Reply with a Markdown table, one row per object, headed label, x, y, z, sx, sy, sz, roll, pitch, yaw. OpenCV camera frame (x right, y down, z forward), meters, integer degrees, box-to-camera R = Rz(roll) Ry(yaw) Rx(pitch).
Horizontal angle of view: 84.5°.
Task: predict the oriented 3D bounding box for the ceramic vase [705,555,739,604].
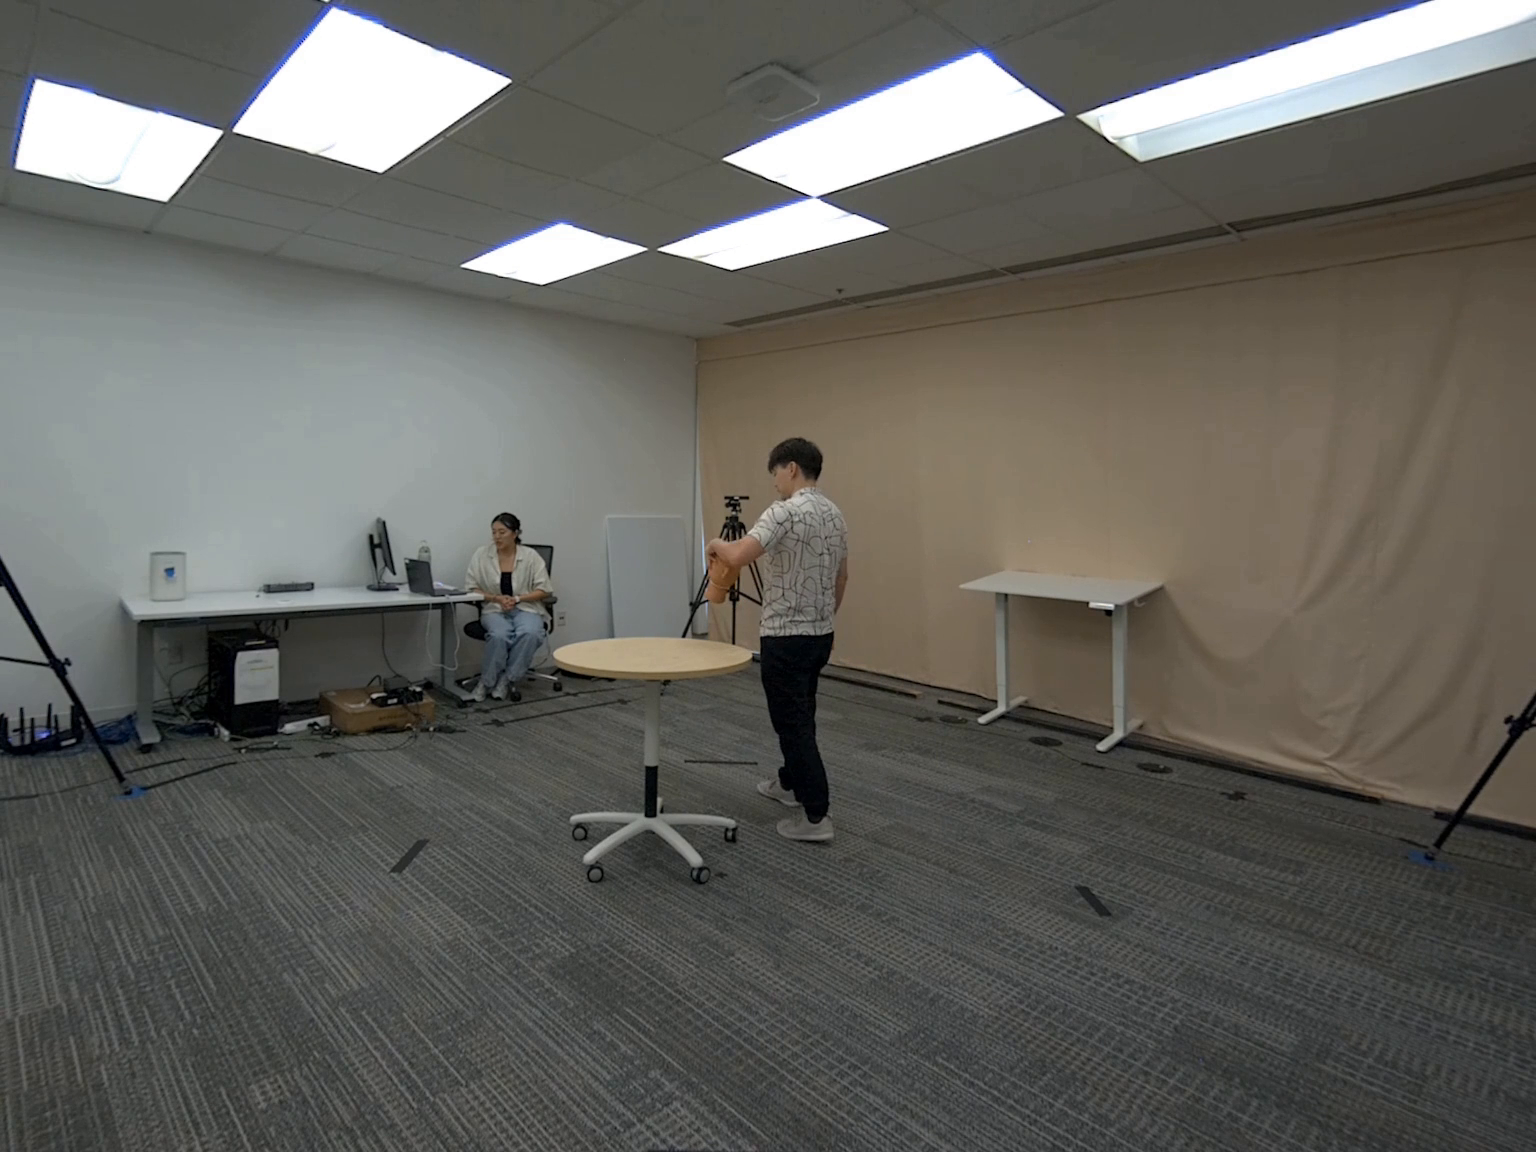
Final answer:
| label | x | y | z | sx | sy | sz | roll | pitch | yaw |
| --- | --- | --- | --- | --- | --- | --- | --- | --- | --- |
| ceramic vase | -0.197 | 0.003 | 3.677 | 0.138 | 0.217 | 0.156 | 32 | 28 | 31 |
